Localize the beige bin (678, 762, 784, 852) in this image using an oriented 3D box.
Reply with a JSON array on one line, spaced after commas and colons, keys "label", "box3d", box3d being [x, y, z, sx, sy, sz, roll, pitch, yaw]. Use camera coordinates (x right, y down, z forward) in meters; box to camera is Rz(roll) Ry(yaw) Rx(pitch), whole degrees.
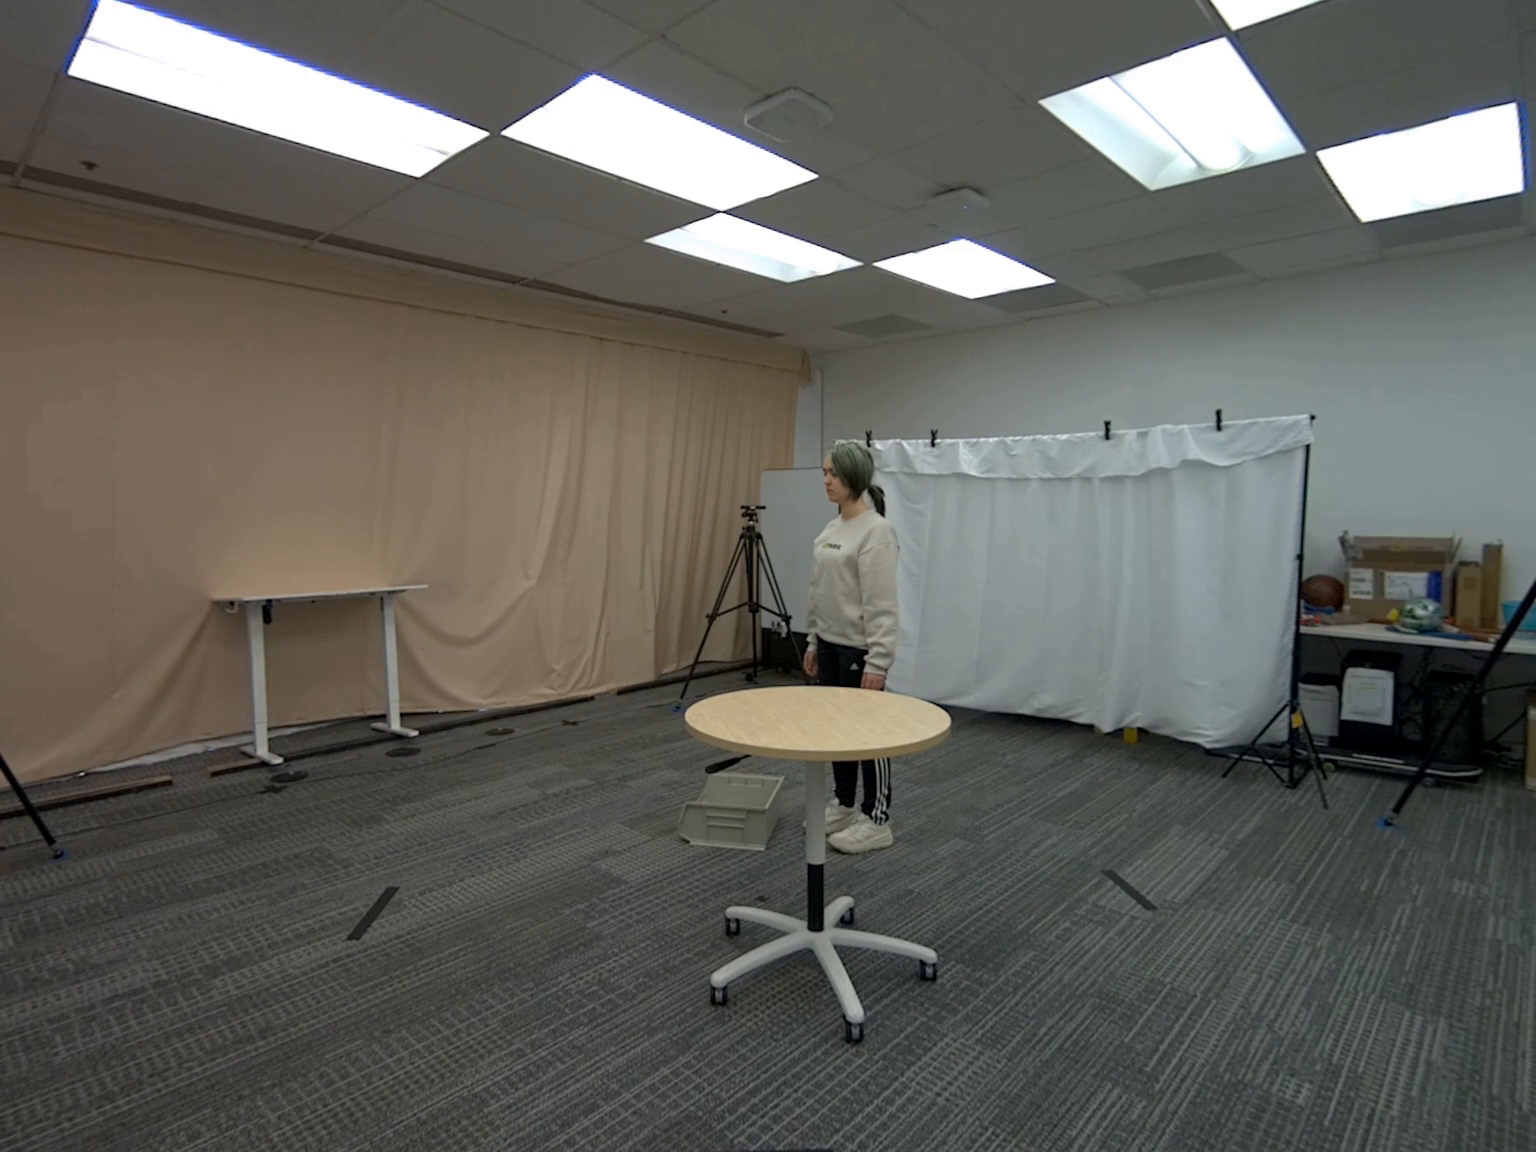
[{"label": "beige bin", "box3d": [-0.147, 1.006, 3.633, 0.383, 0.188, 0.417, 1, 4, 12]}]
